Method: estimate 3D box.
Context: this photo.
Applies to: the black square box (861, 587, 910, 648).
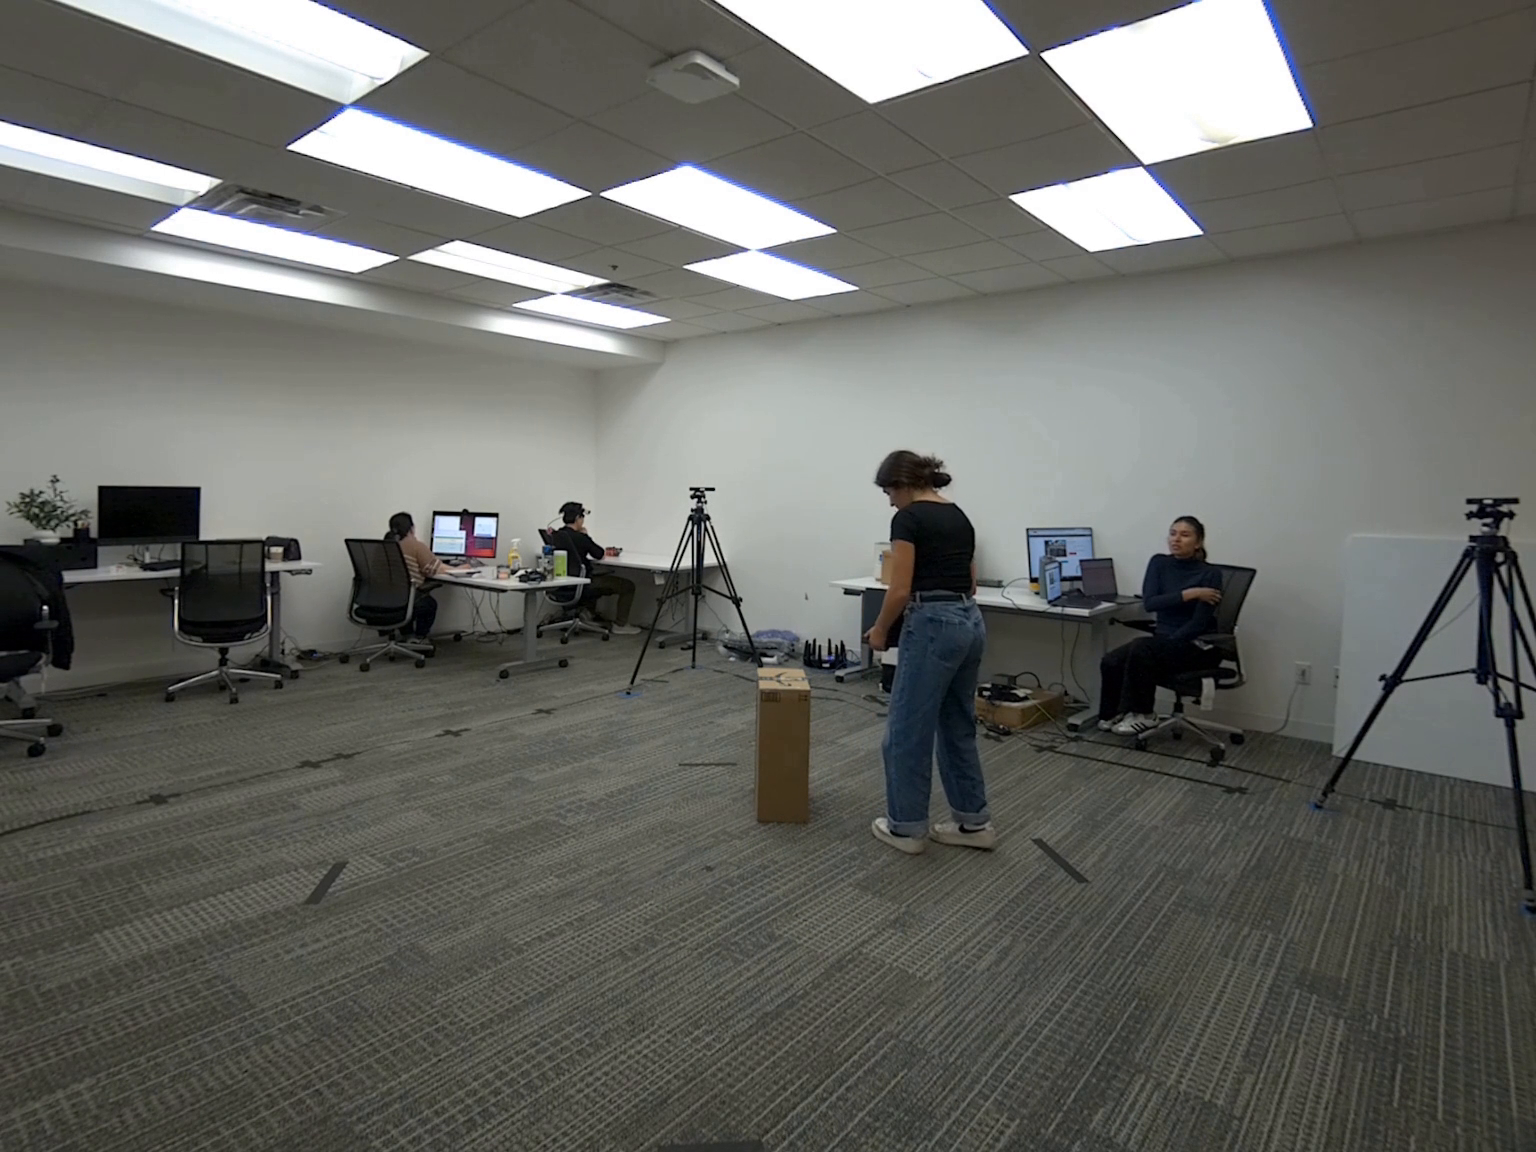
[{"bbox_3d":[0.528,0.171,3.491,0.210,0.228,0.161,5,0,-33],"label":"black square box"}]
